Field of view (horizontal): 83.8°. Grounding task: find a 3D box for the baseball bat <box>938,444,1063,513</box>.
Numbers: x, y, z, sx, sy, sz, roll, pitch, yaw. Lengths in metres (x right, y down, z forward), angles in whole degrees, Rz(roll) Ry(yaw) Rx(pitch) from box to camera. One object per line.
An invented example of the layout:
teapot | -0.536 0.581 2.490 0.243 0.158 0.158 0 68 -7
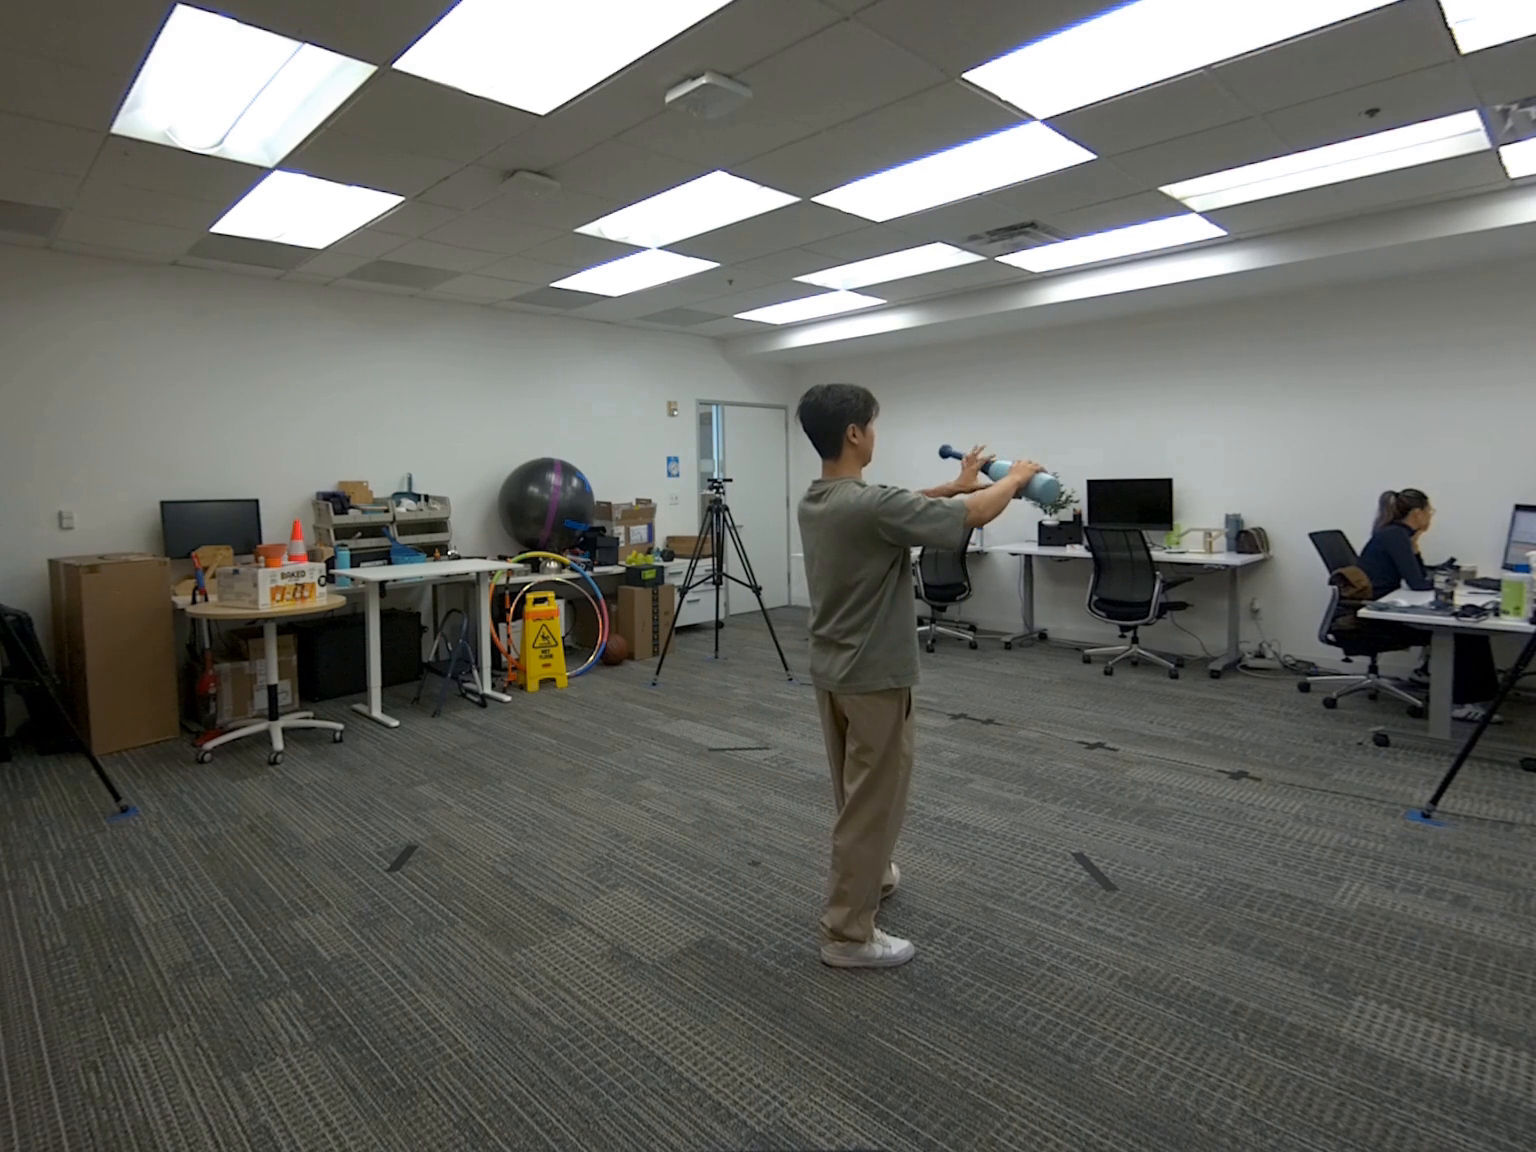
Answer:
baseball bat | 0.720 -0.339 2.719 0.087 0.088 0.561 -3 22 -22
